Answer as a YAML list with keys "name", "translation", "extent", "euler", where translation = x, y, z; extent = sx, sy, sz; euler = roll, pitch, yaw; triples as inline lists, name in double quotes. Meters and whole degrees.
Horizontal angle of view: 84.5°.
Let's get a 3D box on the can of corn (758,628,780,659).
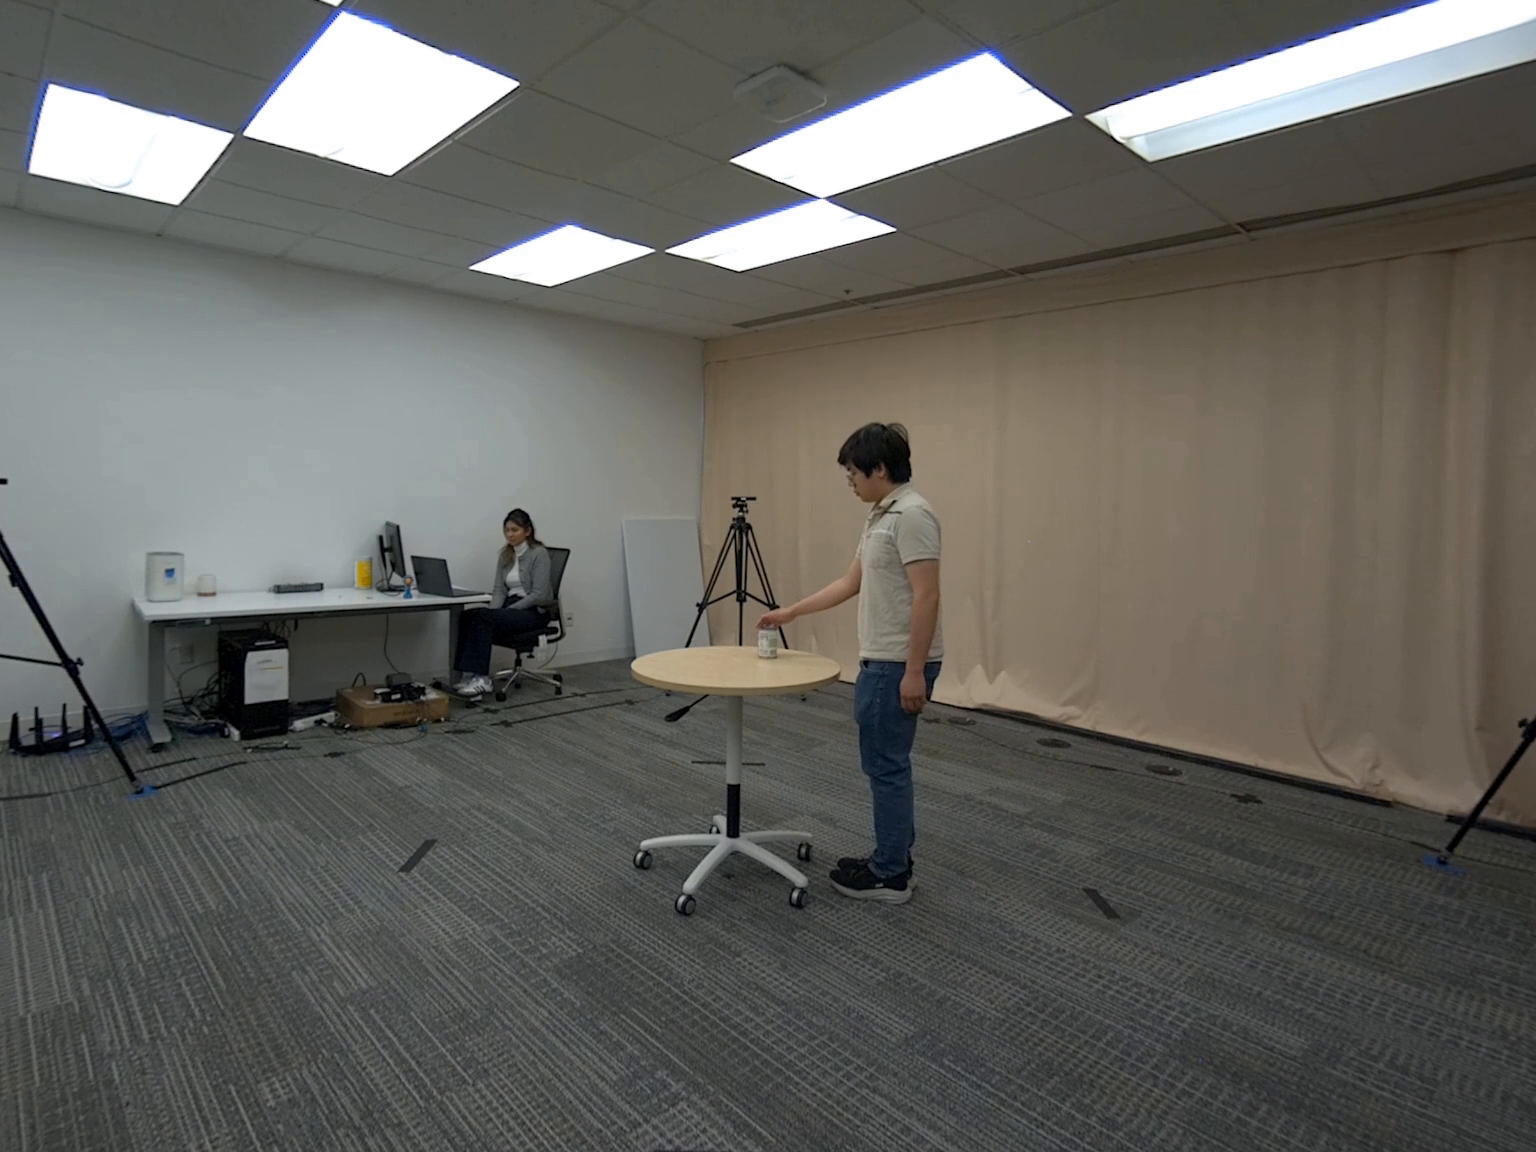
- name: "can of corn"
  translation: [-0.008, 0.257, 3.240]
  extent: [0.074, 0.111, 0.074]
  euler: [0, 1, -1]
